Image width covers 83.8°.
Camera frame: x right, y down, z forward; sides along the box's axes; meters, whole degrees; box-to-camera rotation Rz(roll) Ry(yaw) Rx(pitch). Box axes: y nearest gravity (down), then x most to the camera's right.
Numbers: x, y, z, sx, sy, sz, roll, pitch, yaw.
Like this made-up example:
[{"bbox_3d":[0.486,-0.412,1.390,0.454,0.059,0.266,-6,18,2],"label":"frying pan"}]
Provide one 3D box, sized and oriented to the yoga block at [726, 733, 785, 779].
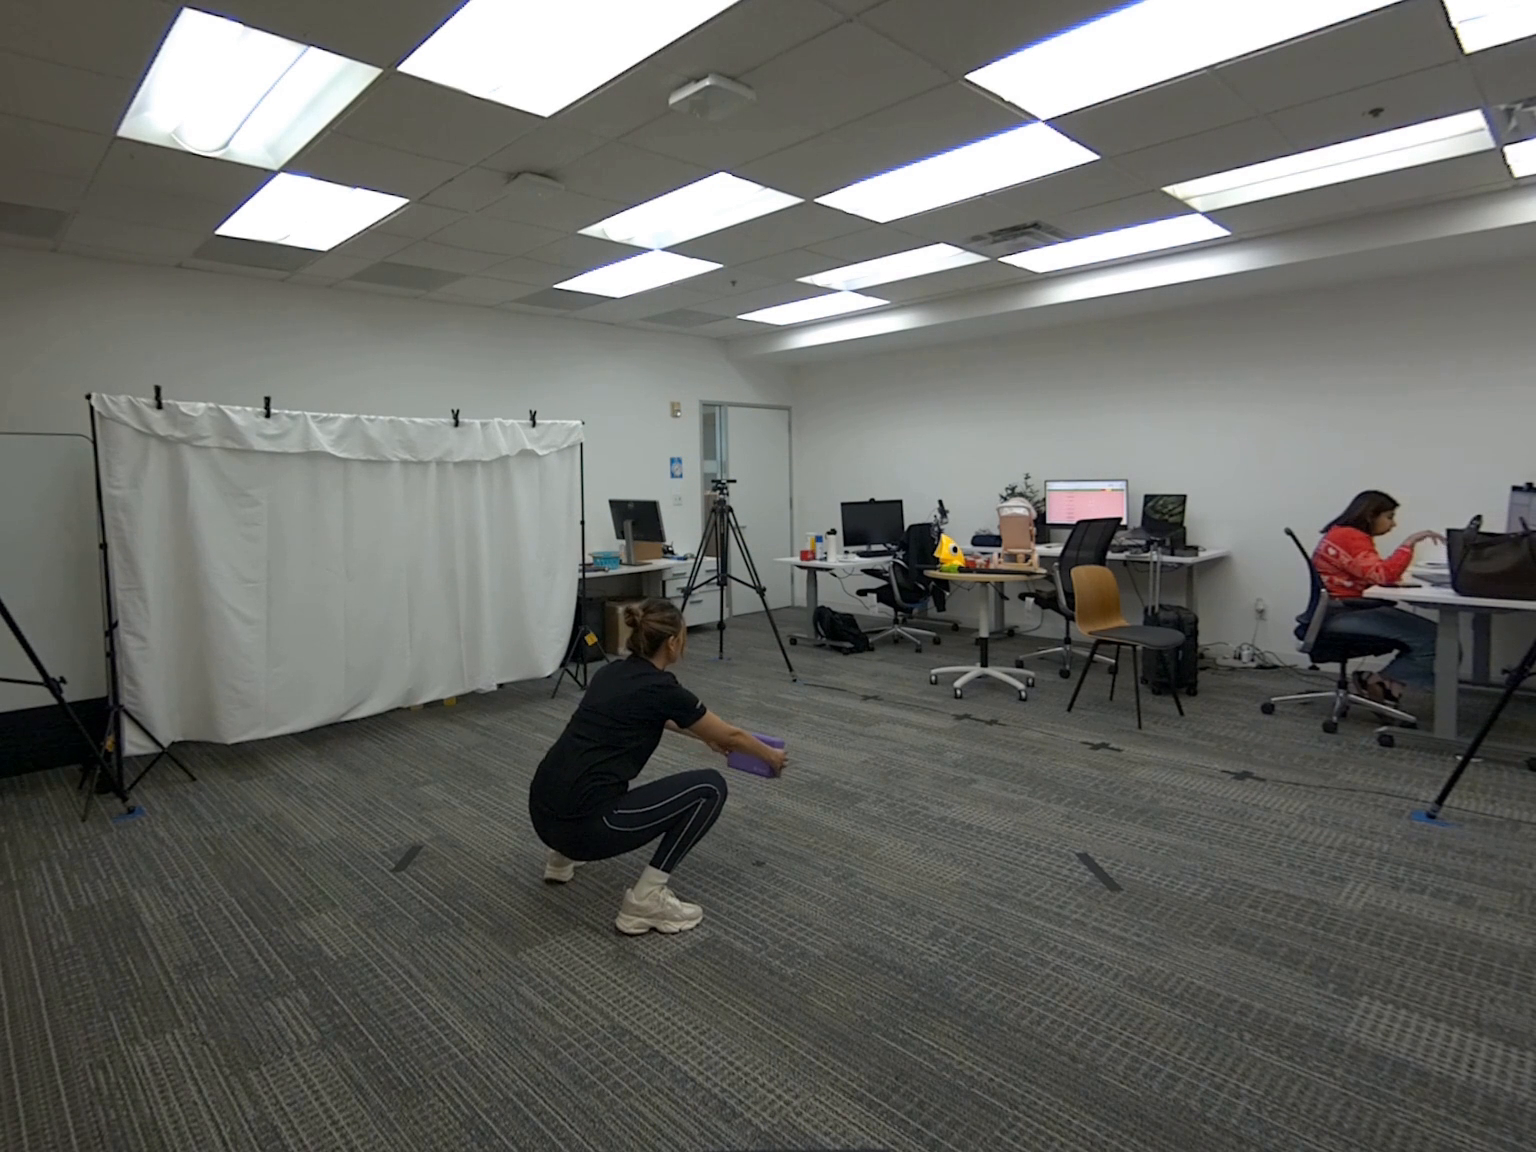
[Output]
[{"bbox_3d":[-0.047,0.690,3.352,0.236,0.149,0.074,4,-6,42],"label":"yoga block"}]
